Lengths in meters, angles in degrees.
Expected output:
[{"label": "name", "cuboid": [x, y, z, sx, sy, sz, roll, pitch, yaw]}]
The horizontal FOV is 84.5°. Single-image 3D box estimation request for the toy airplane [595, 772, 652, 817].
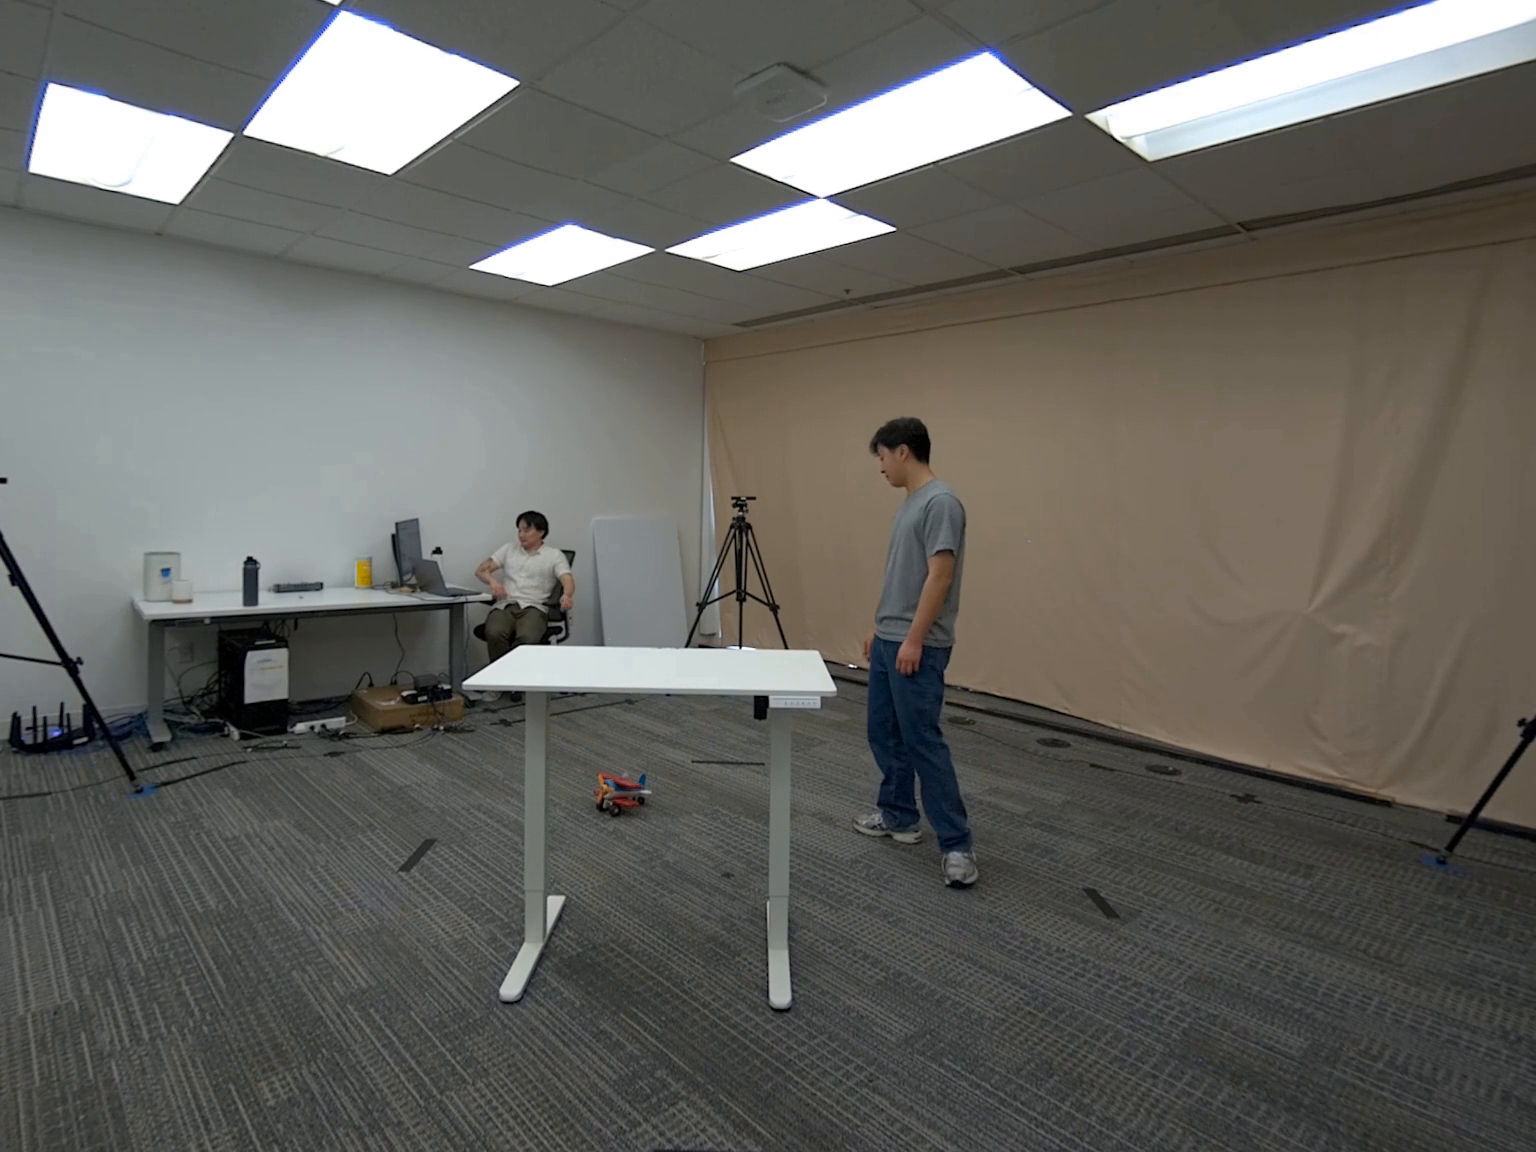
[{"label": "toy airplane", "cuboid": [-0.665, 0.960, 3.762, 0.253, 0.156, 0.258, 1, 7, 12]}]
